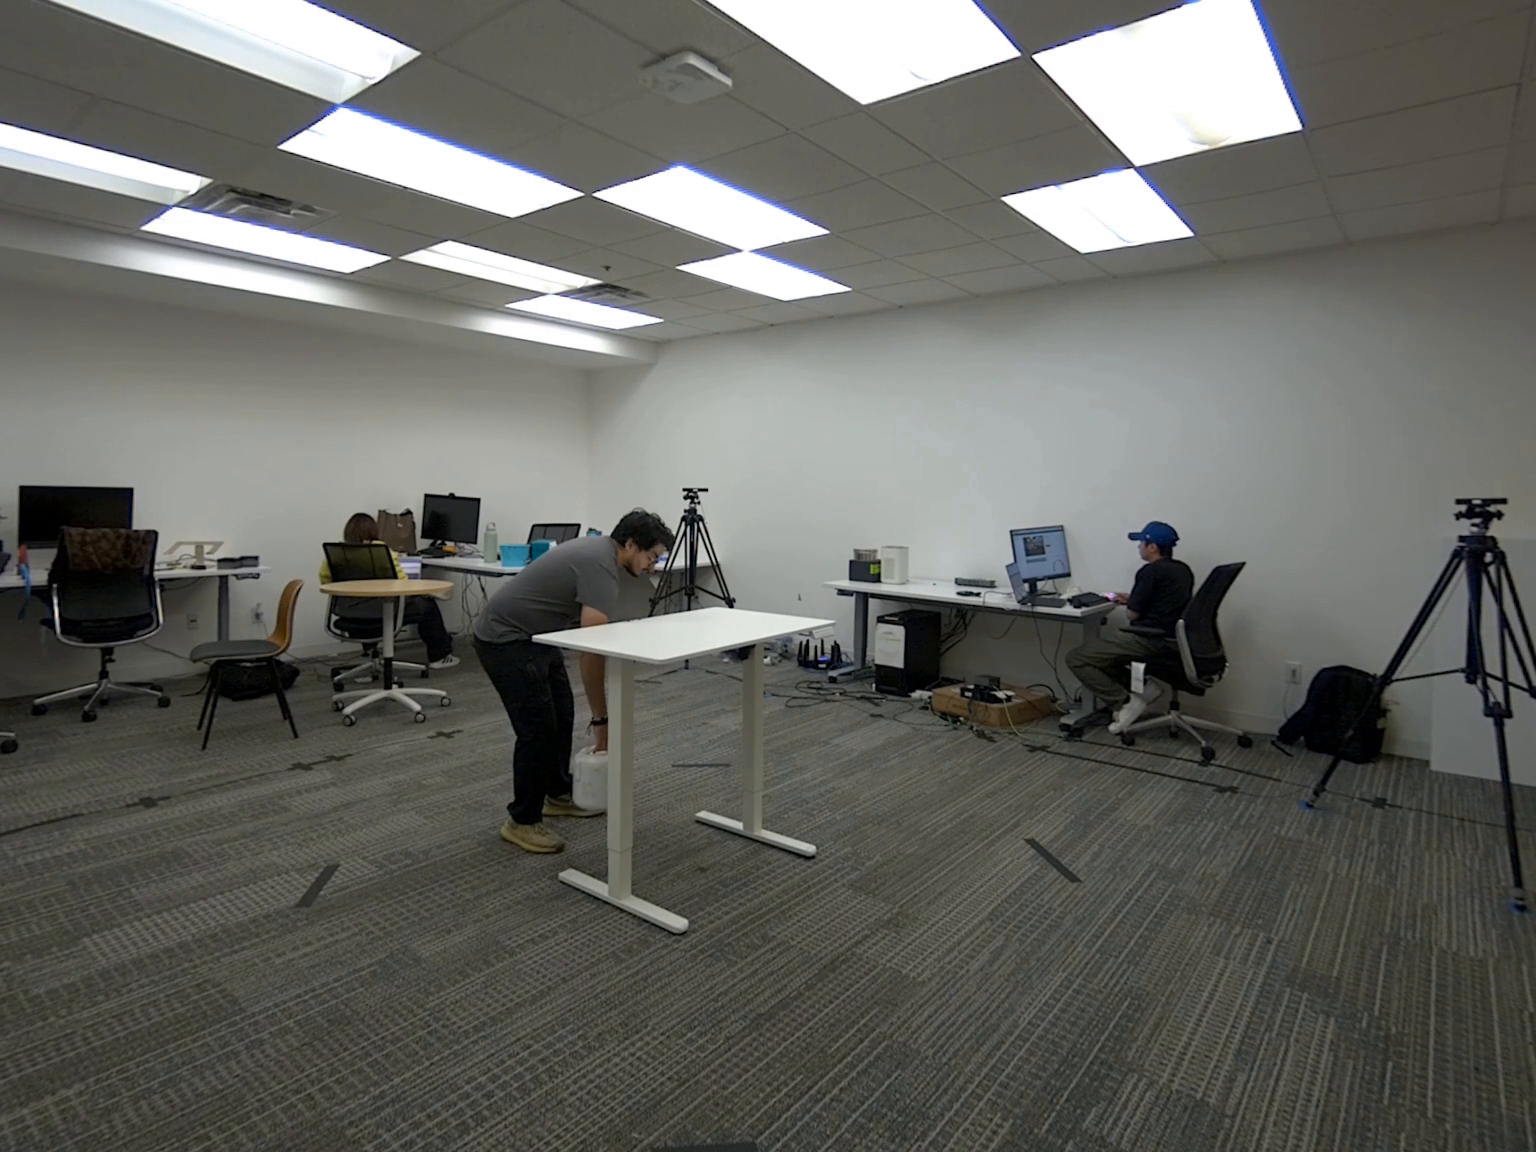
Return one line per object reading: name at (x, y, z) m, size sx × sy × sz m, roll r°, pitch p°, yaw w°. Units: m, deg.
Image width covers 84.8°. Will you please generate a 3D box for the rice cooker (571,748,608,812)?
rice cooker at (-0.645, 0.748, 3.223) m, size 0.214 × 0.232 × 0.225 m, roll -1°, pitch 3°, yaw -41°
